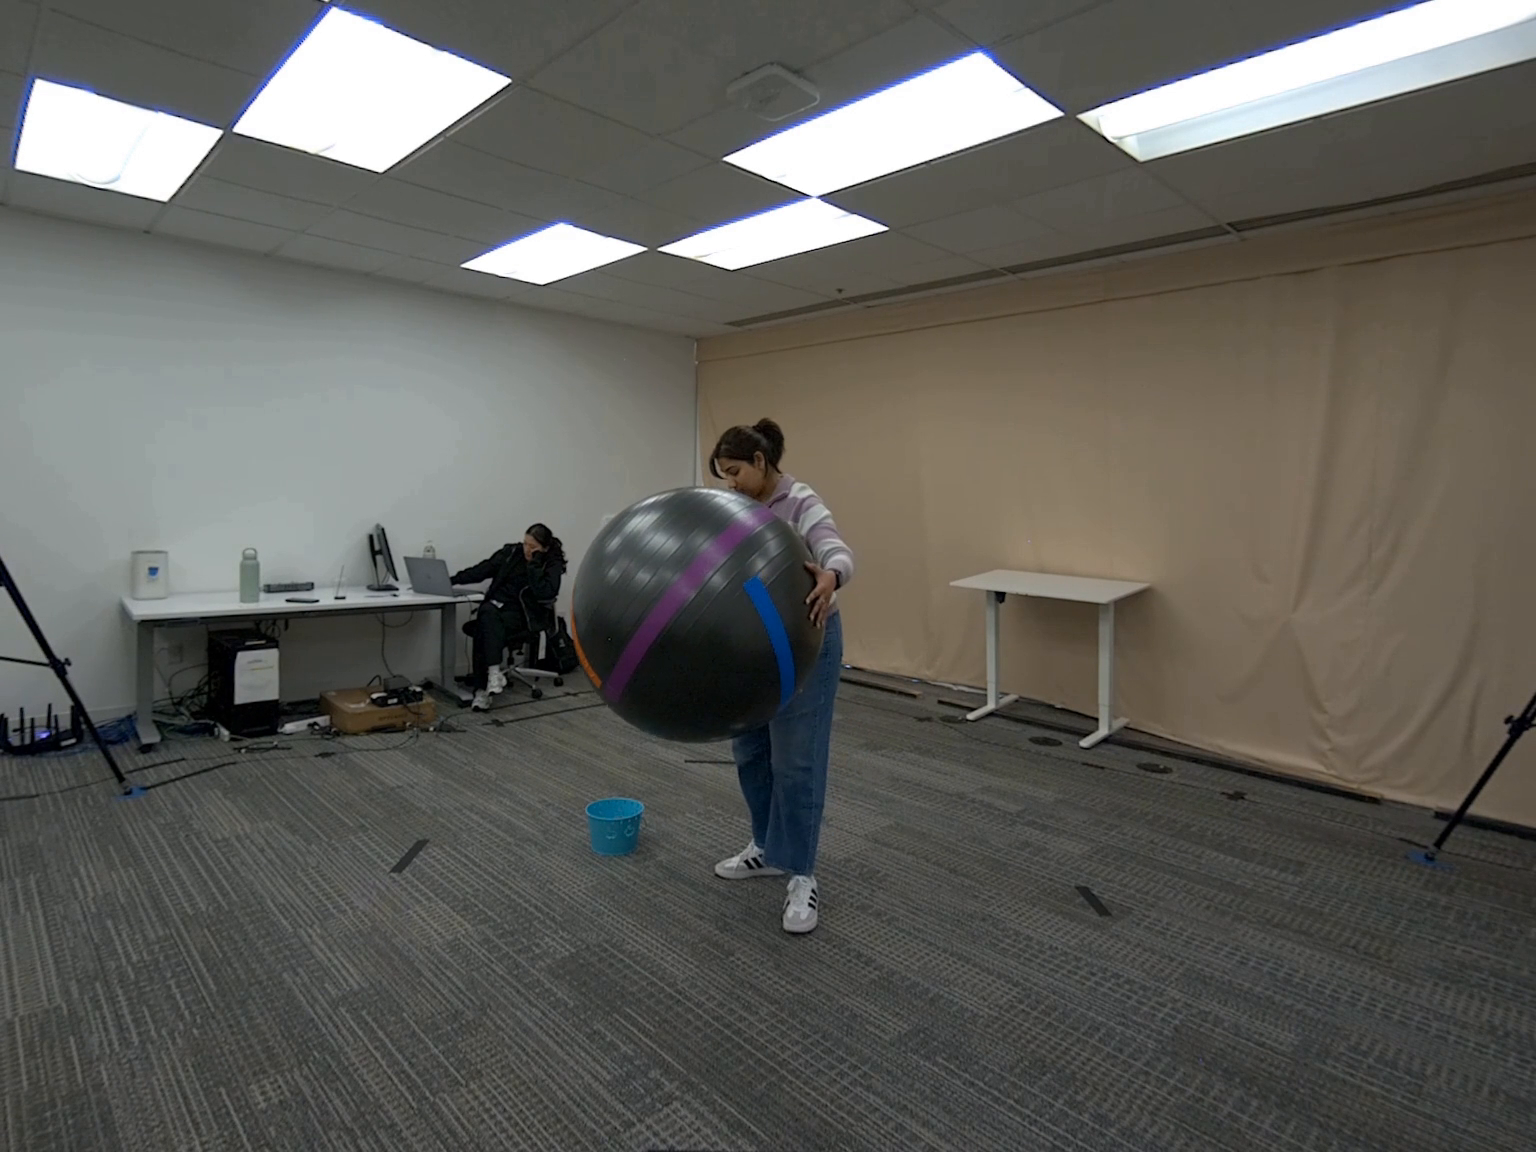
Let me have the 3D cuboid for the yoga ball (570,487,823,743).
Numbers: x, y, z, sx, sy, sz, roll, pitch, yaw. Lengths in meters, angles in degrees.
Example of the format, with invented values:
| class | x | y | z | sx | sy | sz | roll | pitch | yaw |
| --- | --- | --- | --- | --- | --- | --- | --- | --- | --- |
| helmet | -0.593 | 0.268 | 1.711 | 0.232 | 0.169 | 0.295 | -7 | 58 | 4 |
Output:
| class | x | y | z | sx | sy | sz | roll | pitch | yaw |
| --- | --- | --- | --- | --- | --- | --- | --- | --- | --- |
| yoga ball | -0.218 | 0.117 | 2.515 | 0.757 | 0.756 | 0.761 | 1 | 4 | -1 |
